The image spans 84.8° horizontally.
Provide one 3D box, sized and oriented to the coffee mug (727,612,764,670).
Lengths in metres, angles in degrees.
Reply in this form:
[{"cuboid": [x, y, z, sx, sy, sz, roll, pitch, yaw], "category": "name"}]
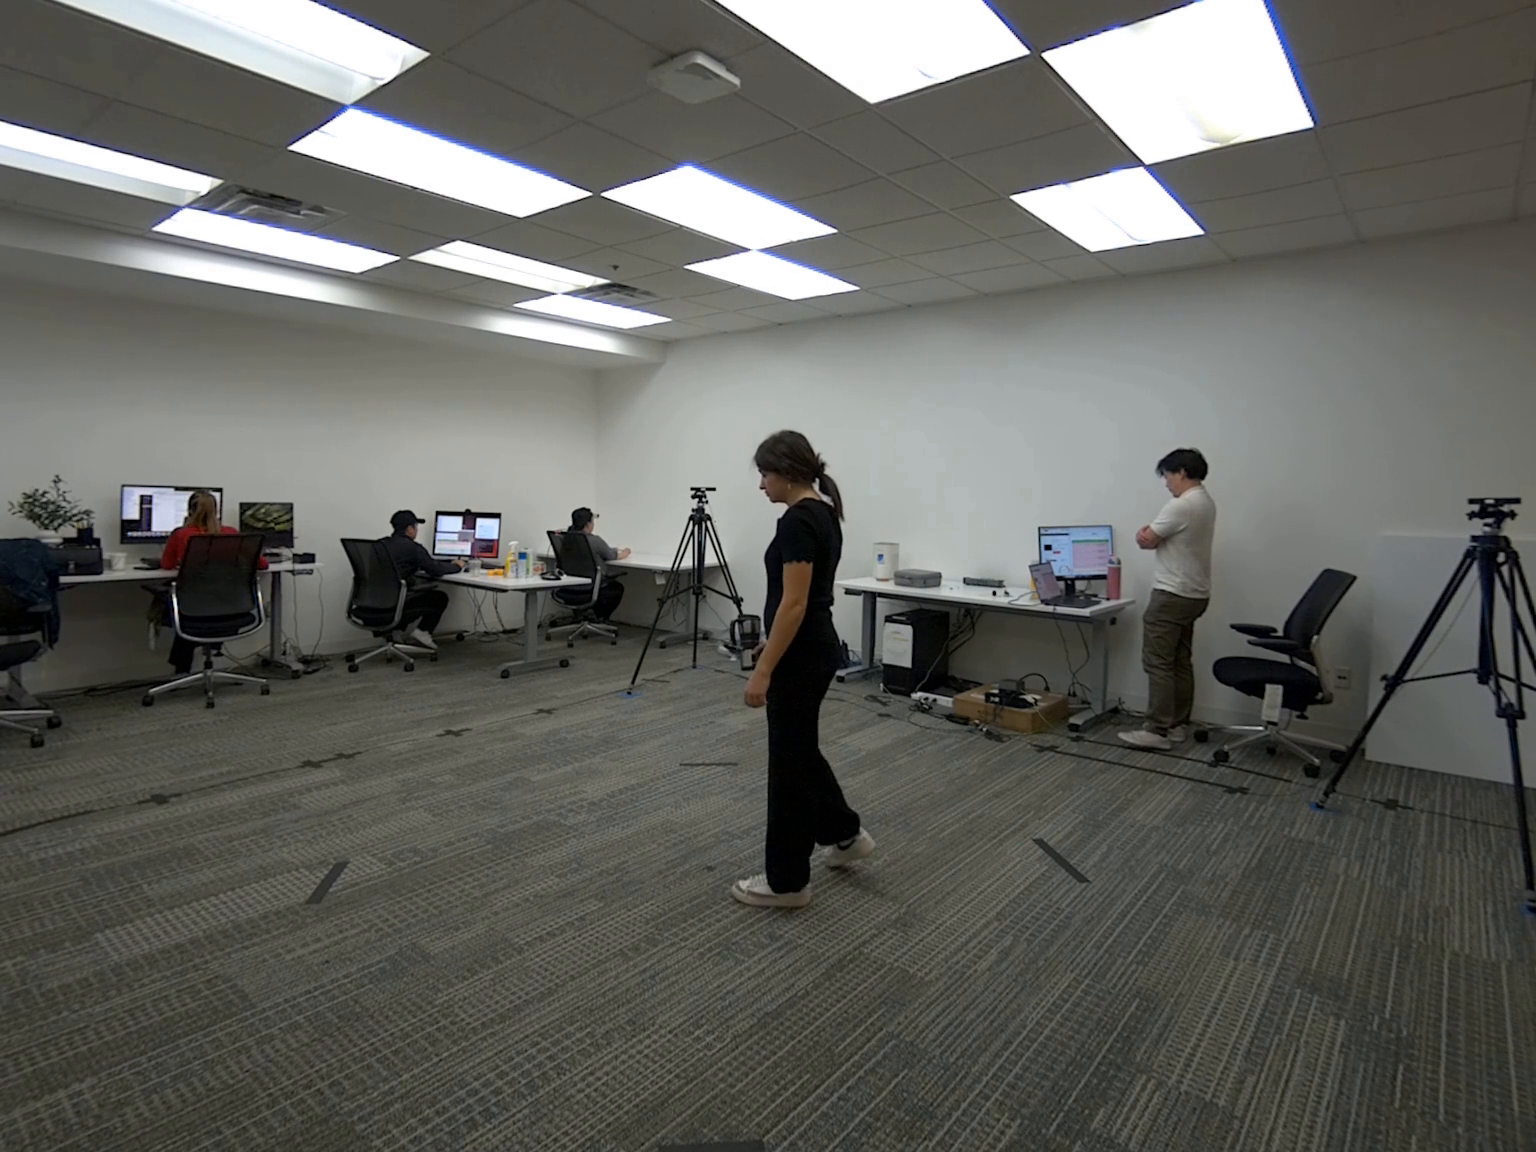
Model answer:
[{"cuboid": [-0.086, 0.242, 3.132, 0.121, 0.205, 0.087, 2, -11, -5], "category": "coffee mug"}]
